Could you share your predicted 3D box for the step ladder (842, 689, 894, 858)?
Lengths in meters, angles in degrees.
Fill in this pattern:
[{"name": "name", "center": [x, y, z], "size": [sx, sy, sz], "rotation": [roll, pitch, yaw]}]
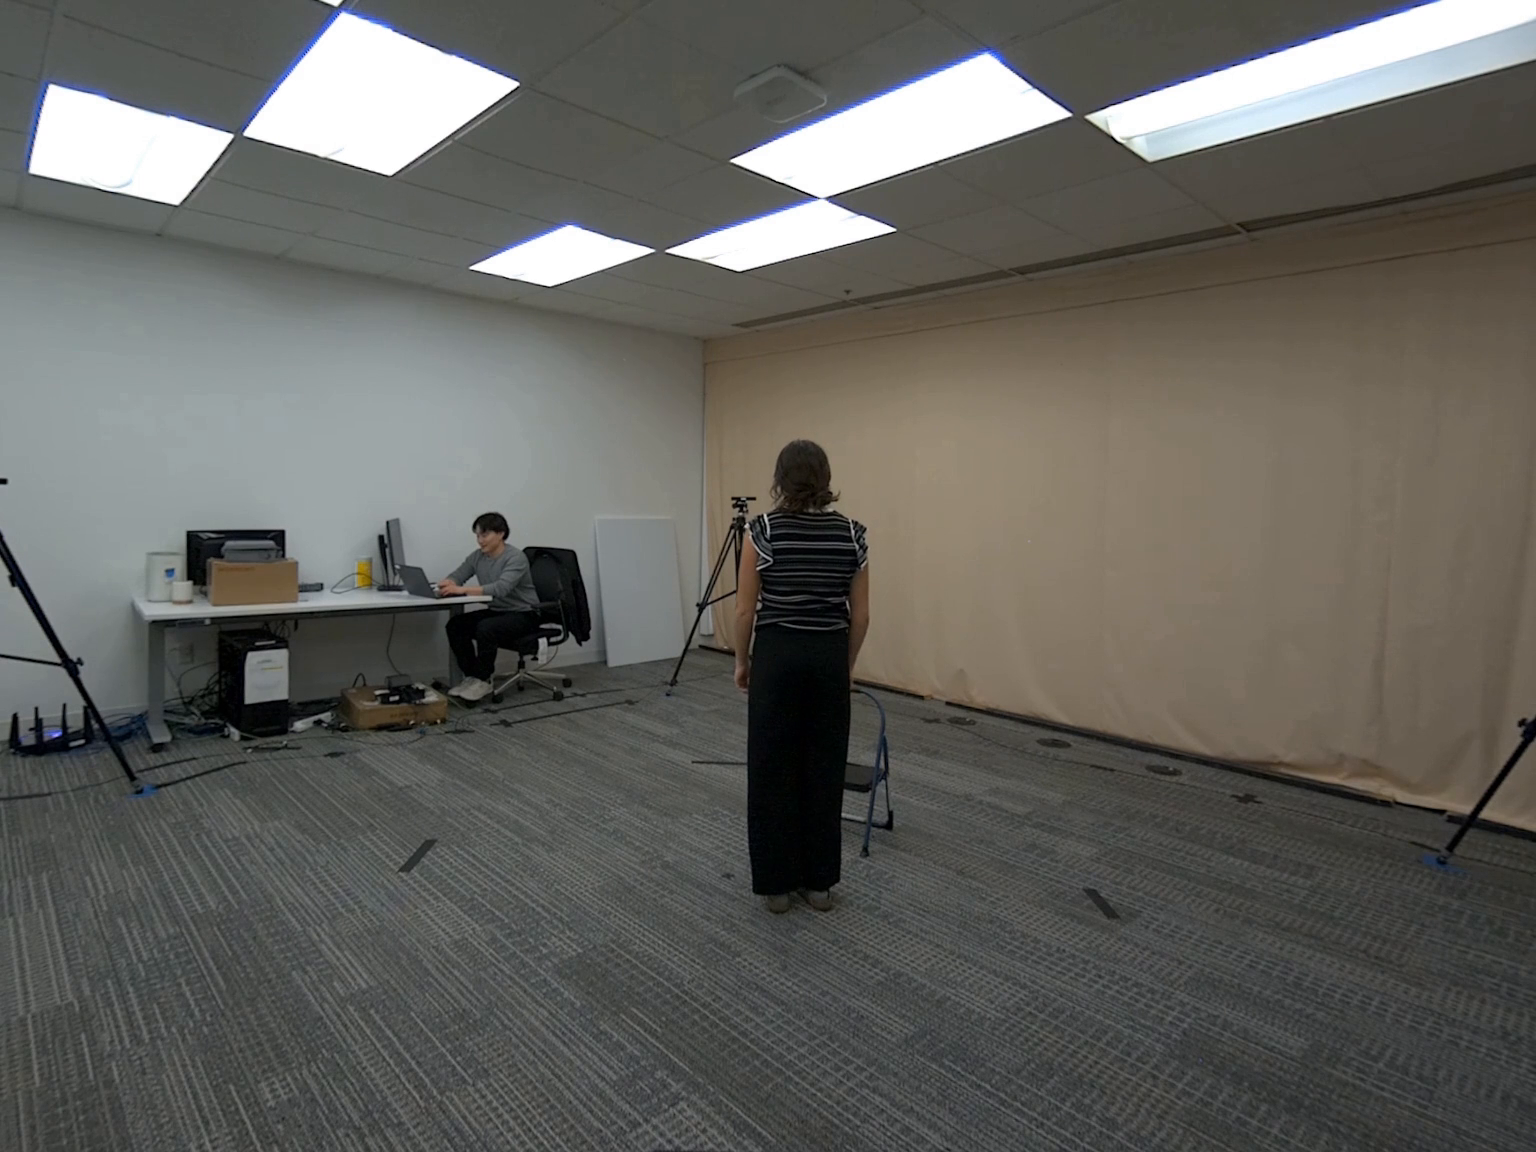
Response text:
[{"name": "step ladder", "center": [0.281, 0.780, 3.539], "size": [0.440, 0.605, 0.342], "rotation": [4, 4, 29]}]
